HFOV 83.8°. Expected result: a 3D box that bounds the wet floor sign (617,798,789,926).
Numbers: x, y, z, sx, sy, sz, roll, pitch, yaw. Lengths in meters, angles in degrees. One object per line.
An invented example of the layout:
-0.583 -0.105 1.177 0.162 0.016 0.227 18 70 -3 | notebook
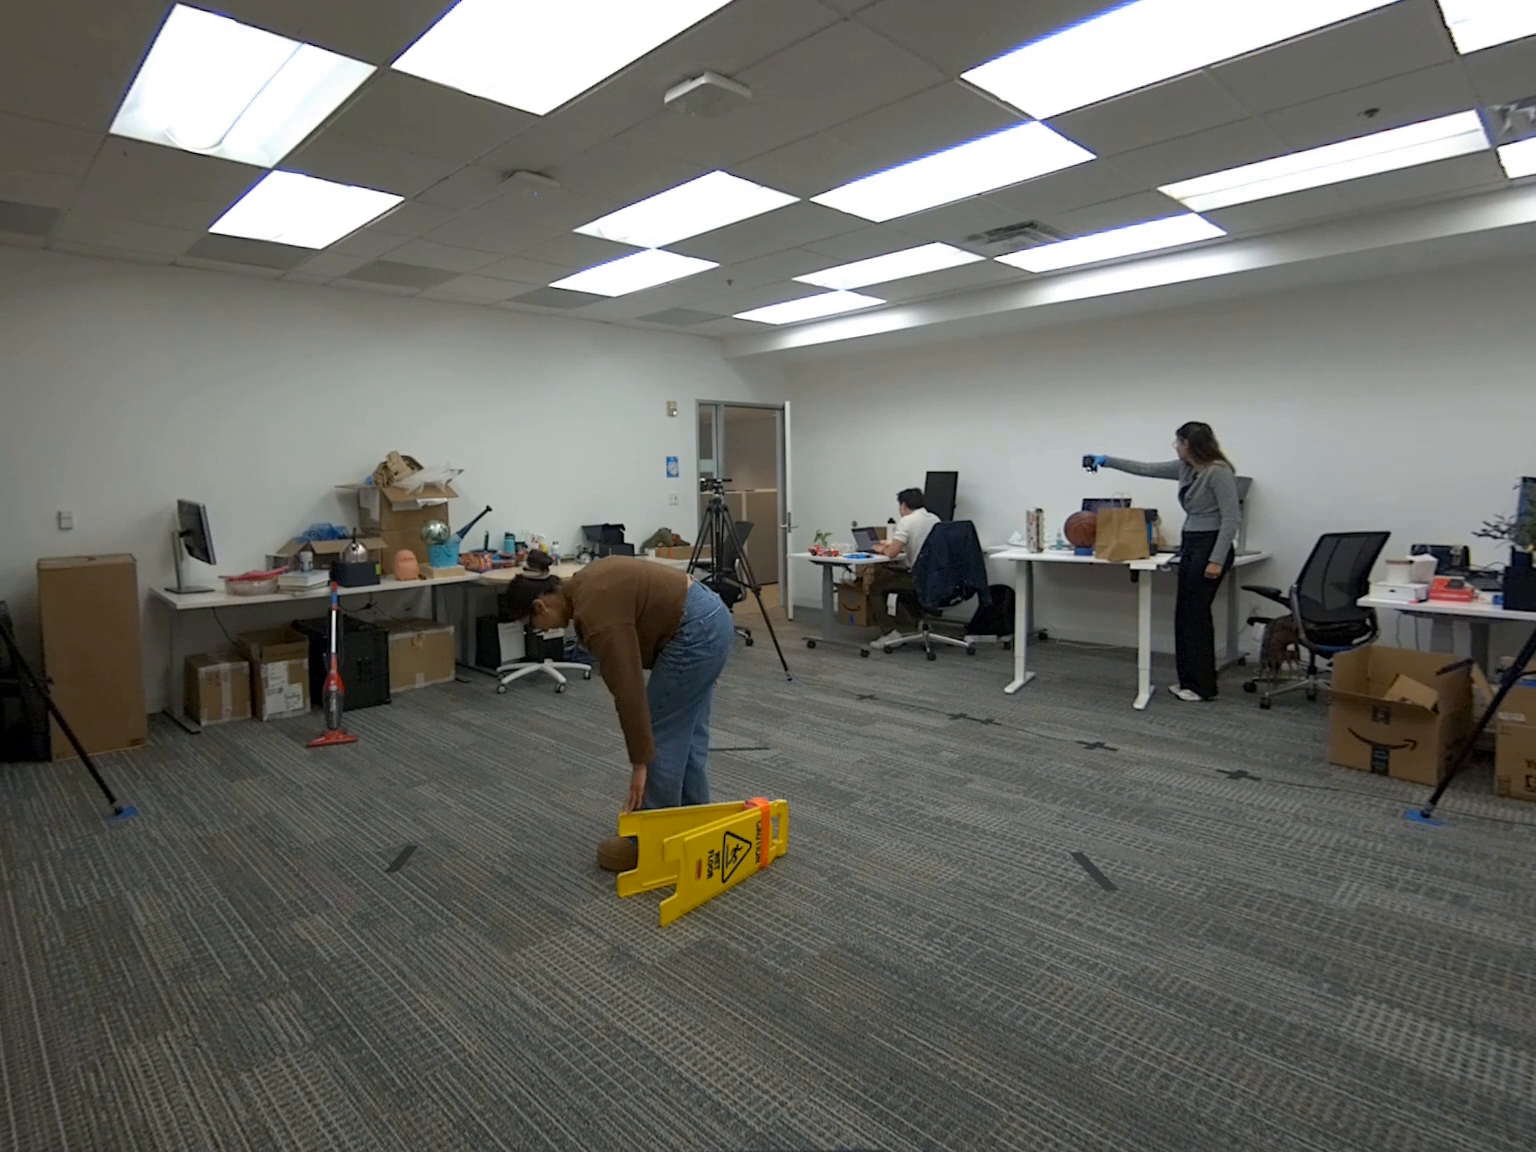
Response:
-0.181 0.933 2.972 0.628 0.281 0.299 -3 6 -40 | wet floor sign
